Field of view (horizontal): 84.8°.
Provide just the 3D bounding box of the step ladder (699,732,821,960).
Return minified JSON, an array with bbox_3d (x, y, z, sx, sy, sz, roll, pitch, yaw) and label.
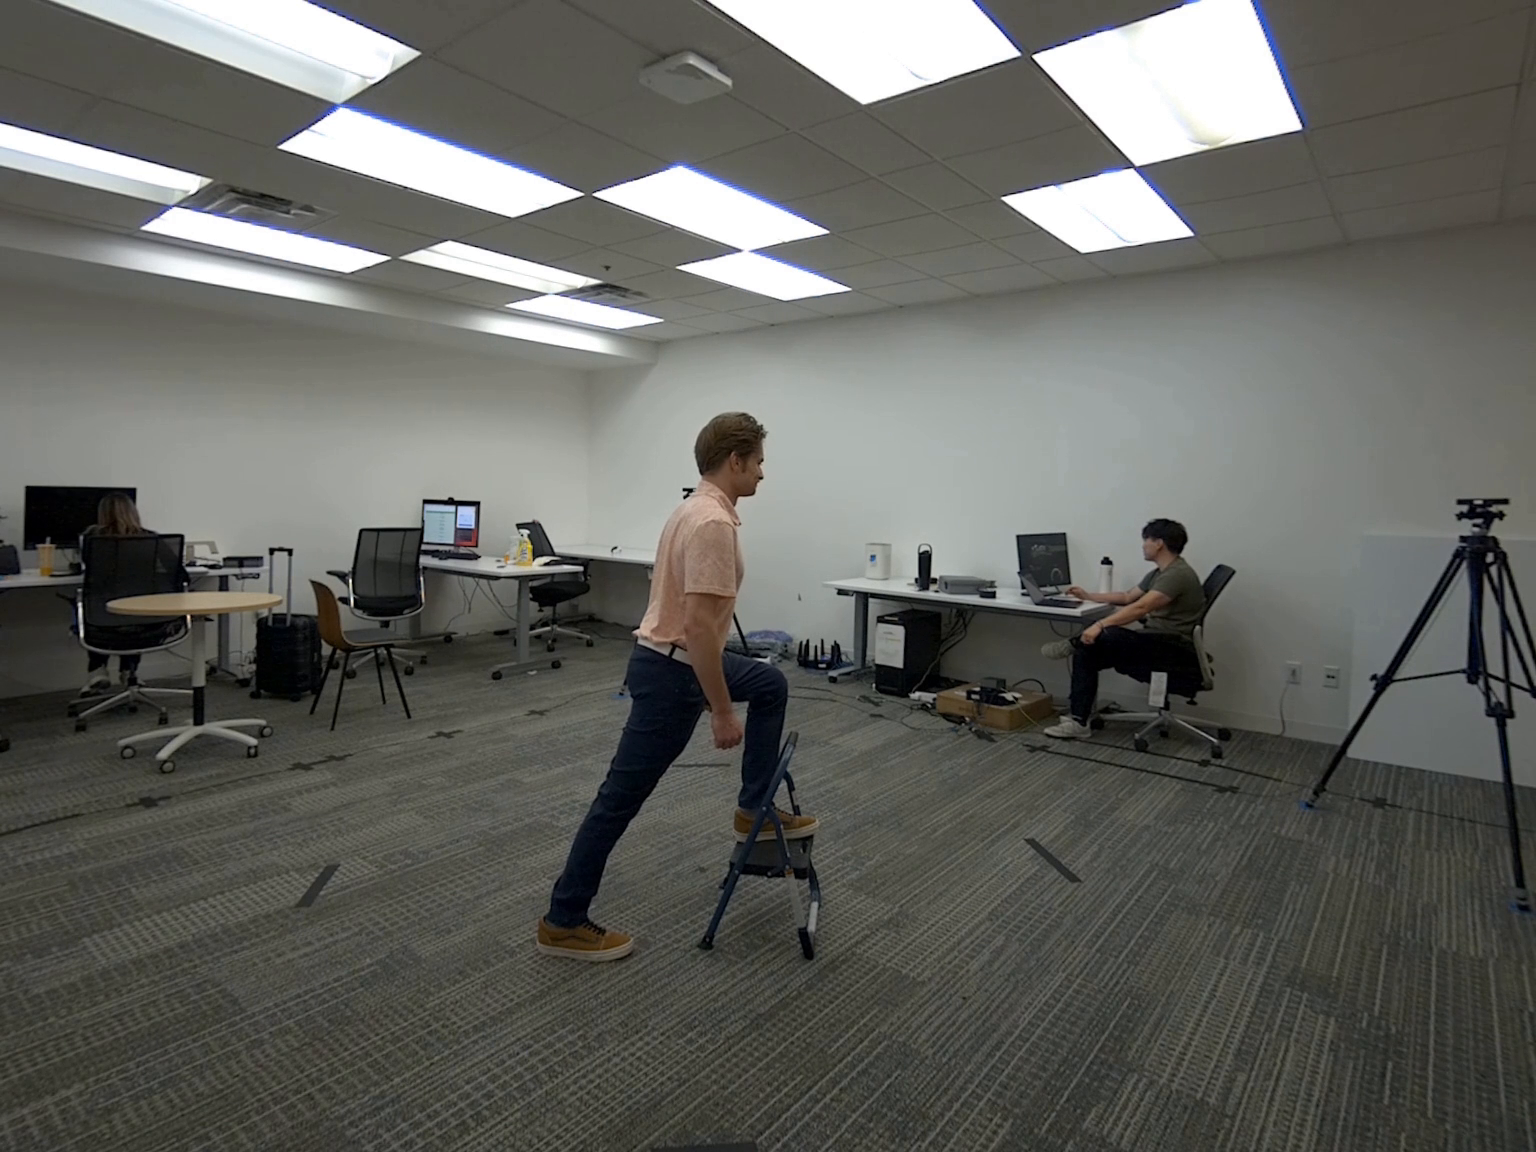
[{"bbox_3d":[-0.012,0.808,2.732,0.352,0.604,0.428,2,4,7],"label":"step ladder"}]
